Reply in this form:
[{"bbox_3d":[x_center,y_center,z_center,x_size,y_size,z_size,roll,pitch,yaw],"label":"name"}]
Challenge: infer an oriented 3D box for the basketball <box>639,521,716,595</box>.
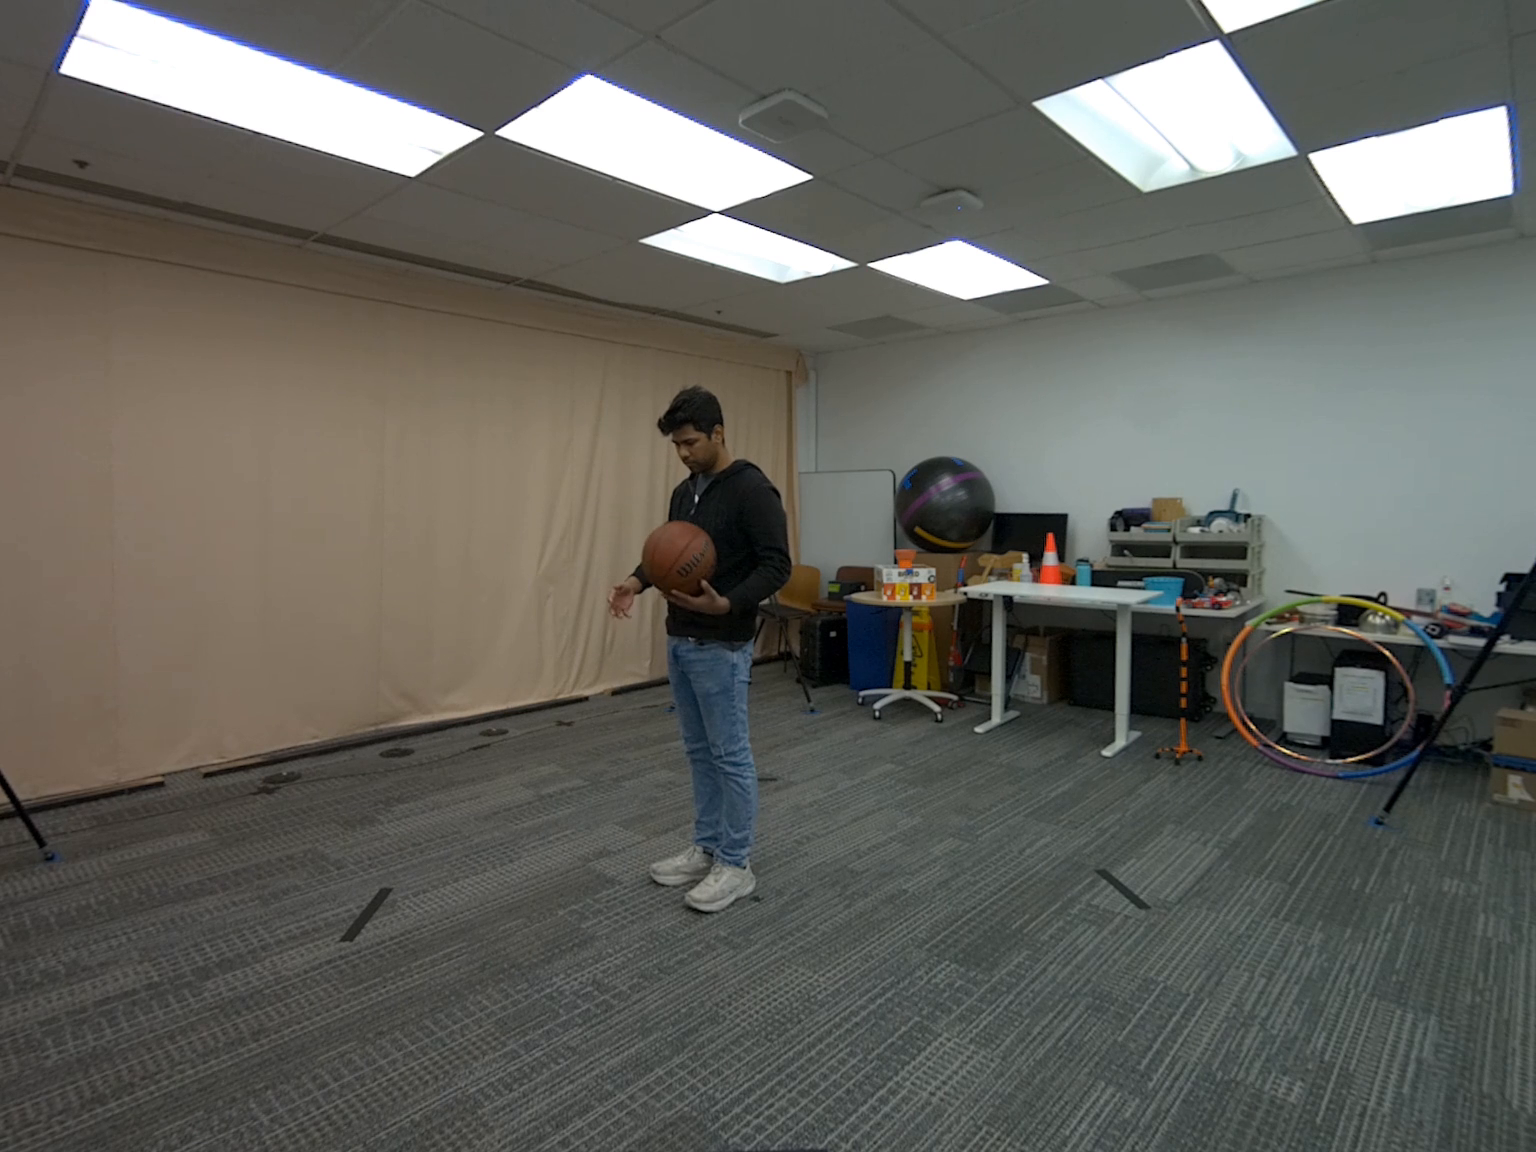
[{"bbox_3d":[-0.282,-0.046,2.726,0.236,0.235,0.237,0,4,-2],"label":"basketball"}]
